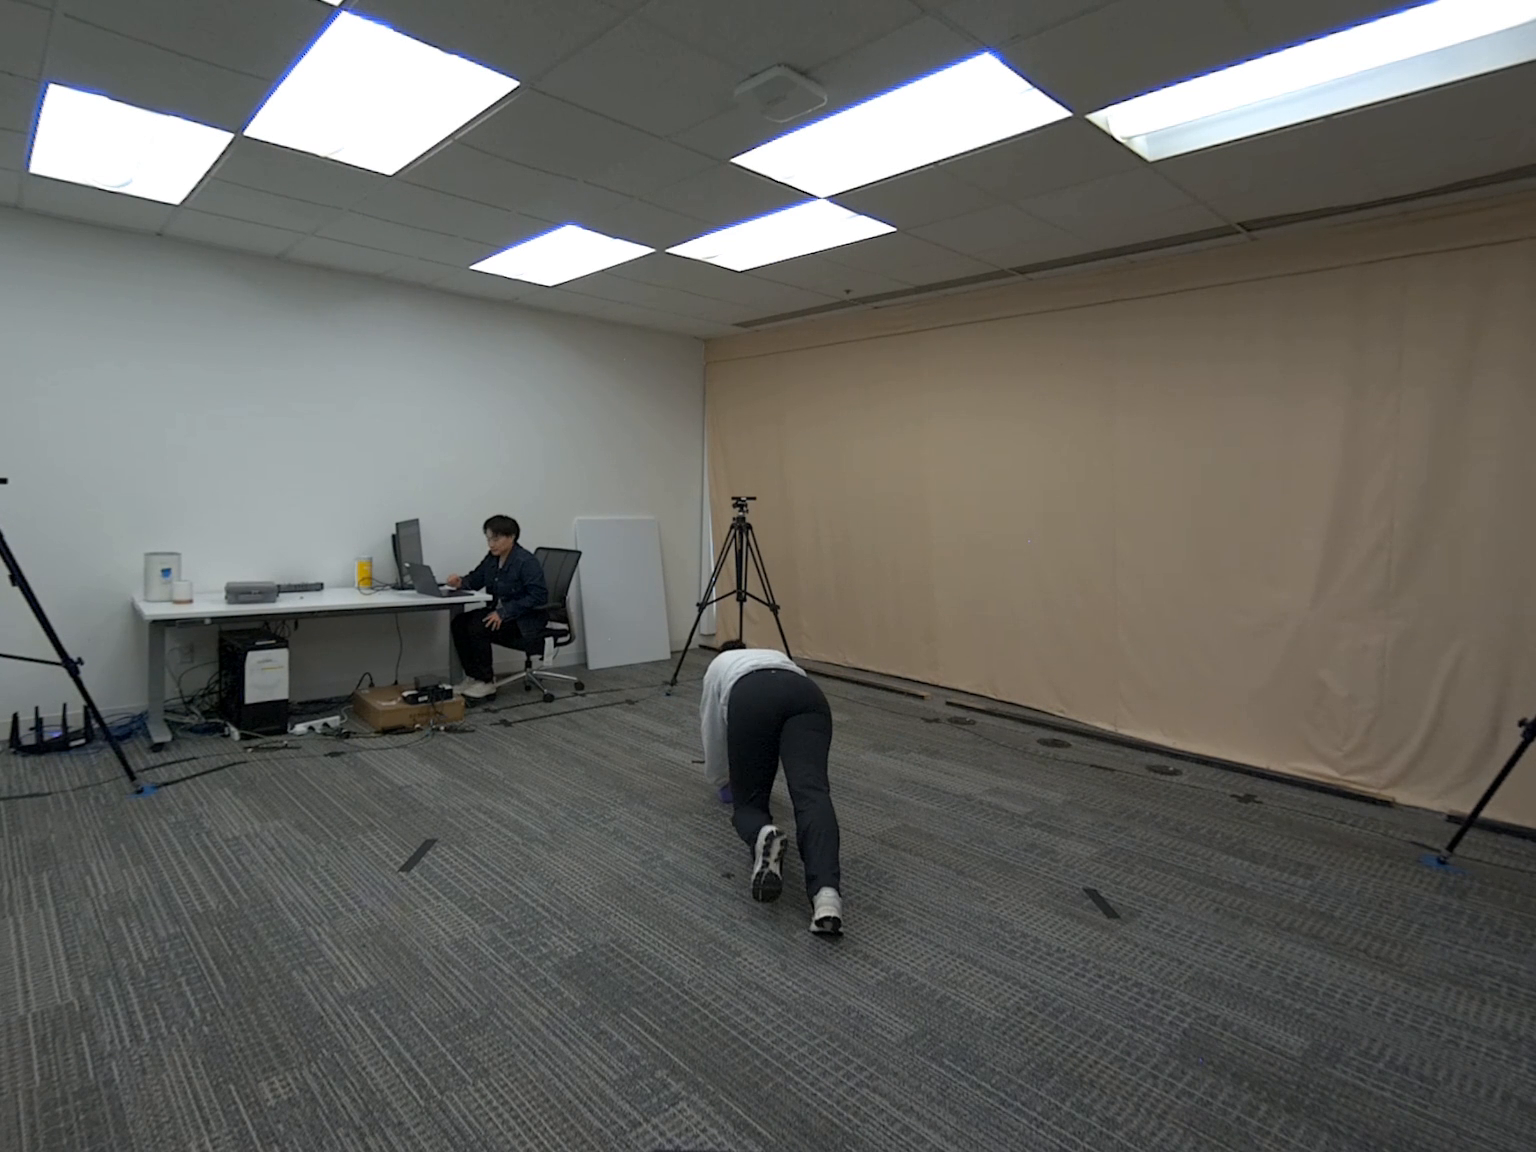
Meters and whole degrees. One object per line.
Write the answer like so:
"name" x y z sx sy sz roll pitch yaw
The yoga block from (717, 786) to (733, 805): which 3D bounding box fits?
"yoga block" -0.129 1.004 3.946 0.227 0.076 0.151 -1 4 -12
